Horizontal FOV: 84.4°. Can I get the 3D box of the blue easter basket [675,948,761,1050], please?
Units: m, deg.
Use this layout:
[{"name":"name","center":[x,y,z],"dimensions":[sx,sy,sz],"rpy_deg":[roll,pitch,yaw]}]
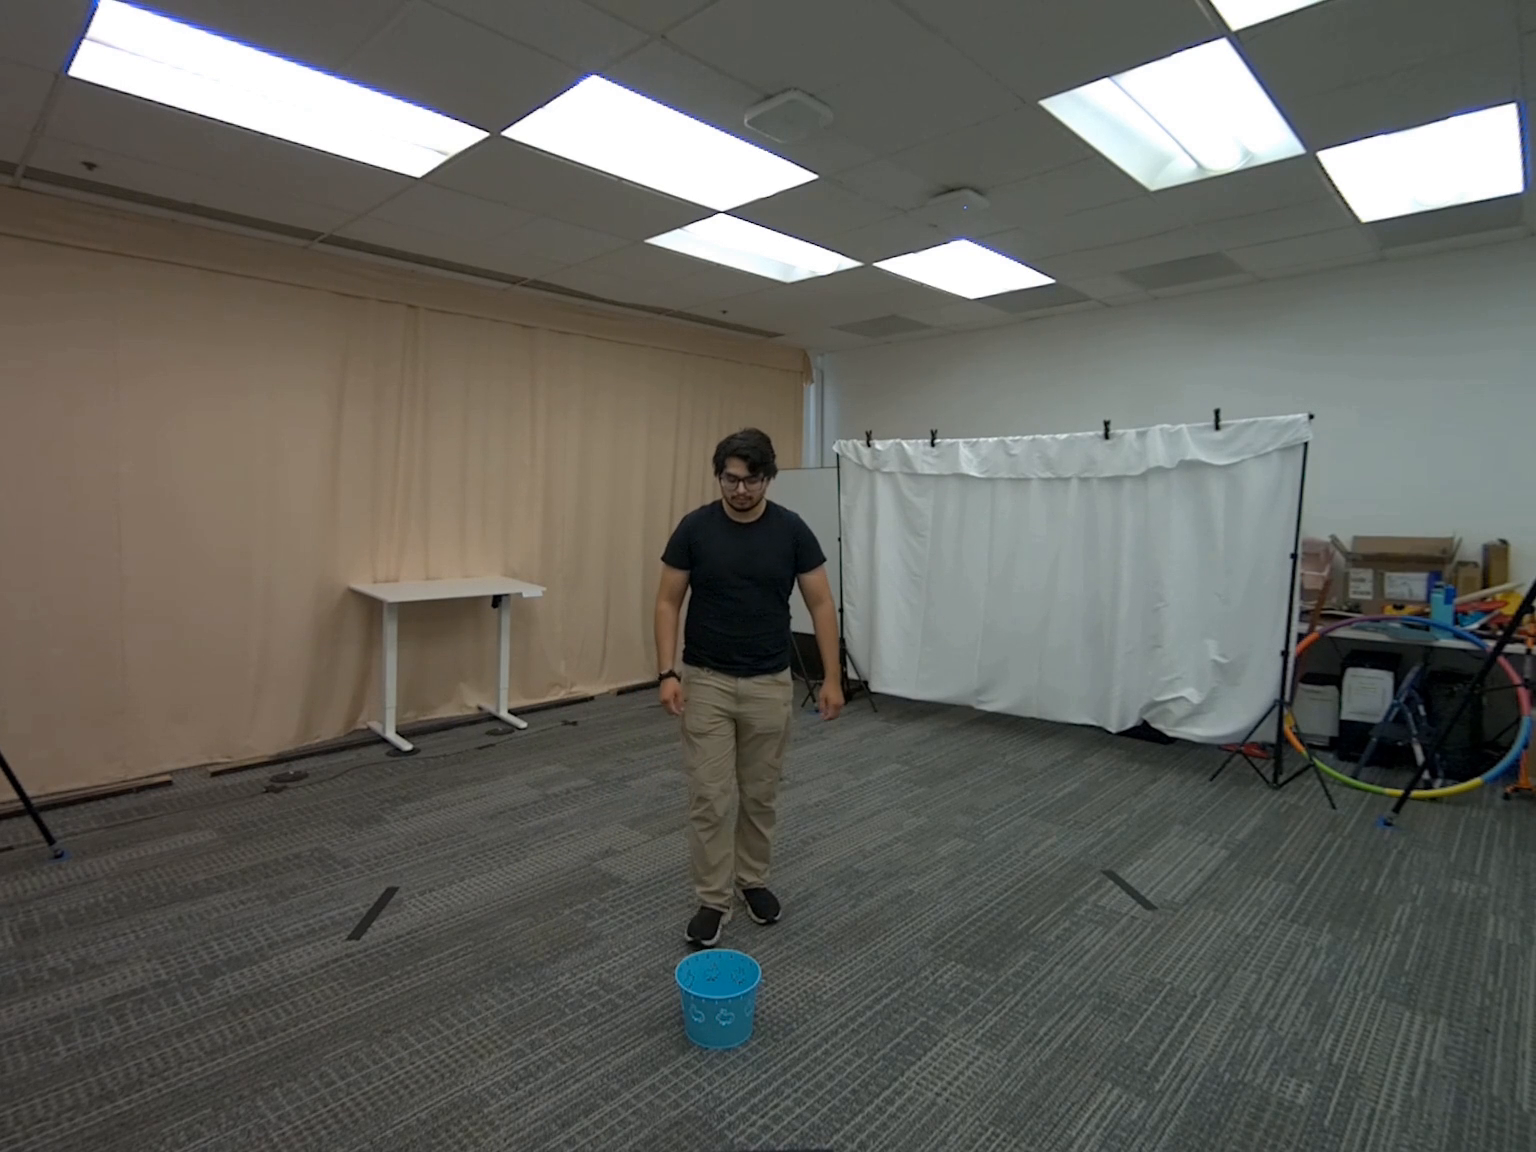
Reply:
[{"name":"blue easter basket","center":[-0.128,1.123,2.250],"dimensions":[0.243,0.155,0.244],"rpy_deg":[0,4,-2]}]
